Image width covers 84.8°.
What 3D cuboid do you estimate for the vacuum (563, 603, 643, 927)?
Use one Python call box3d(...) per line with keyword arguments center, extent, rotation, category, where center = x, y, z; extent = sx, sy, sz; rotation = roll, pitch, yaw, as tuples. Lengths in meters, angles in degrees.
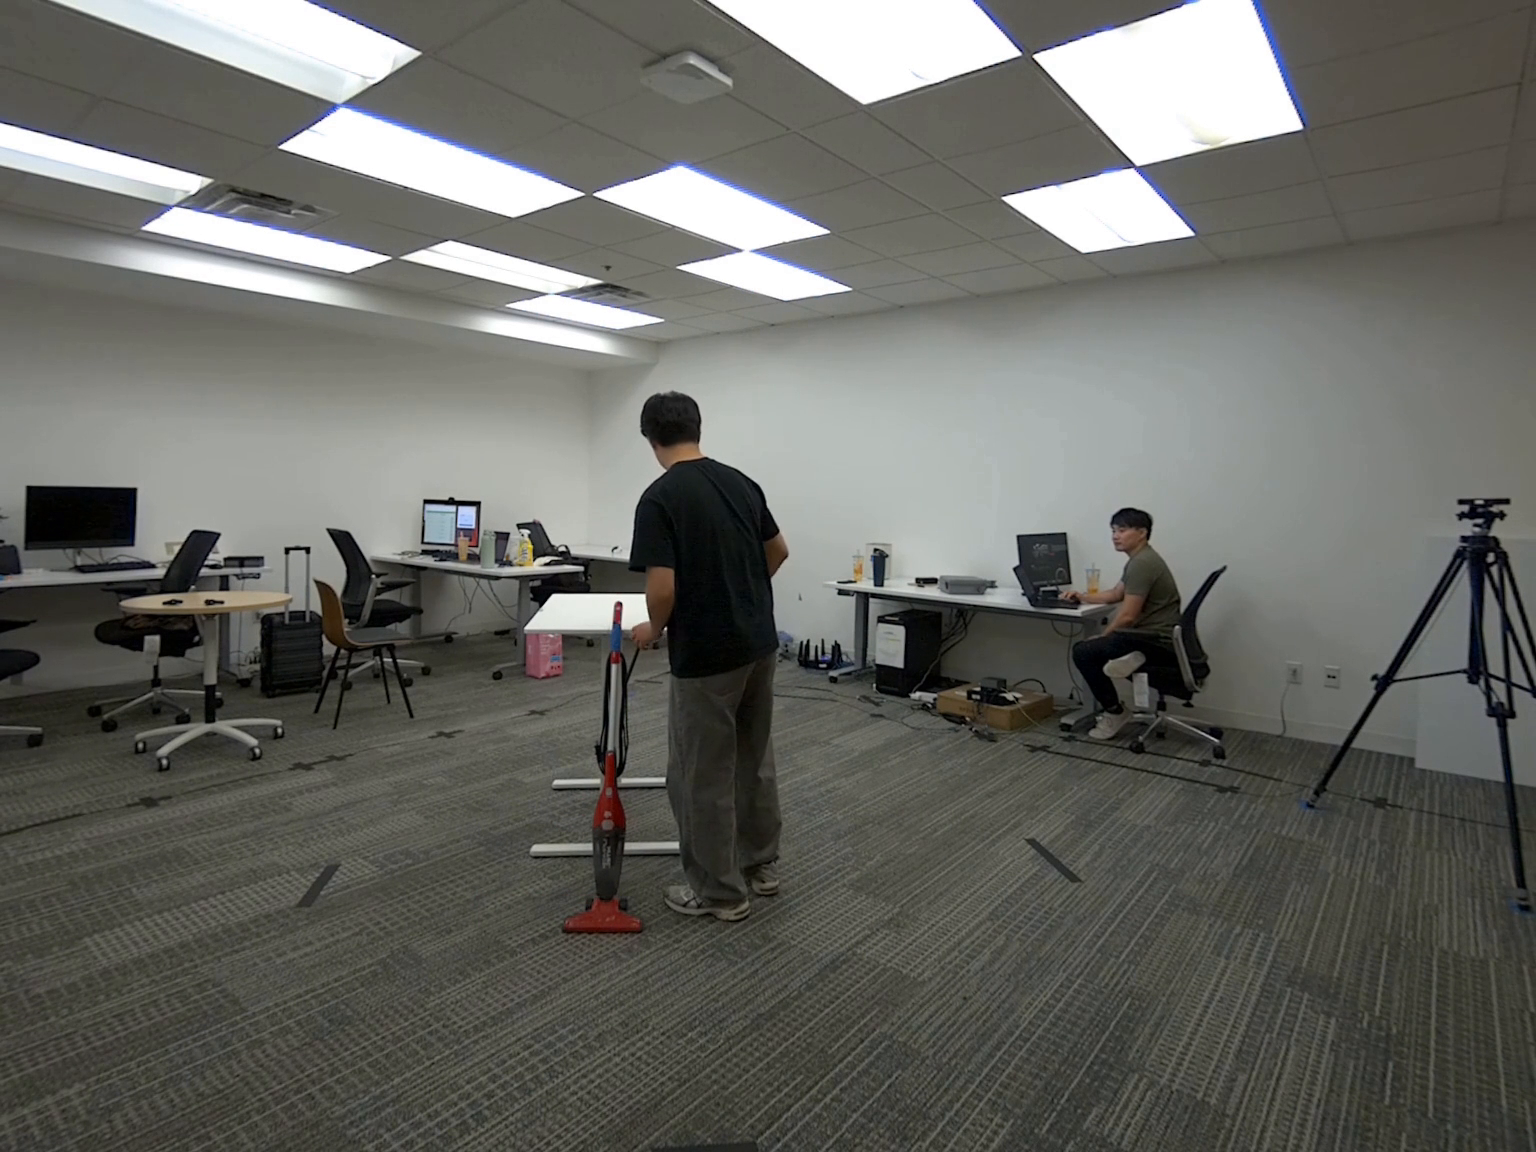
box3d(center=(-0.537, 0.602, 2.914), extent=(0.252, 1.070, 0.142), rotation=(2, -22, -4), category="vacuum")
